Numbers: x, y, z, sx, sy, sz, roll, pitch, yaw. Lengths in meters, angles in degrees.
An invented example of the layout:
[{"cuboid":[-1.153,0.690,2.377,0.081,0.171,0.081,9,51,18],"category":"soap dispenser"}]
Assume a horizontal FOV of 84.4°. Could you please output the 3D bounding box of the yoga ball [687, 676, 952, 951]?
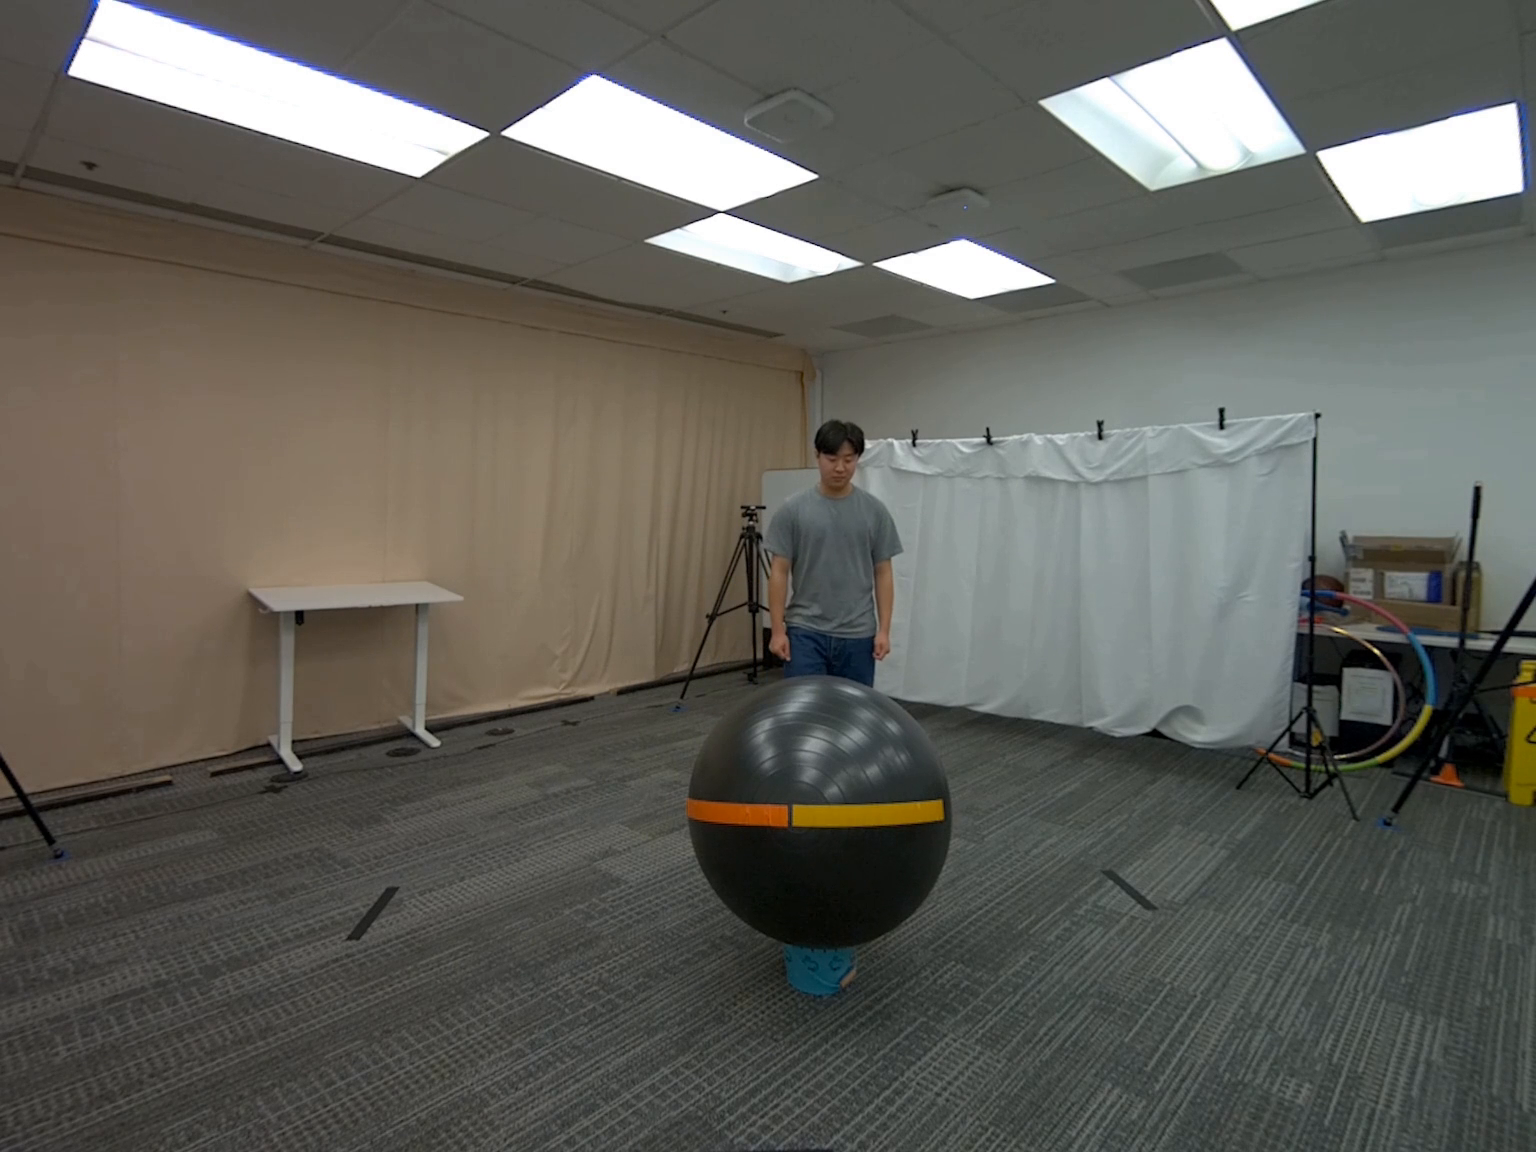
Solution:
[{"cuboid":[0.150,0.673,2.472,0.757,0.756,0.761,0,4,-2],"category":"yoga ball"}]
